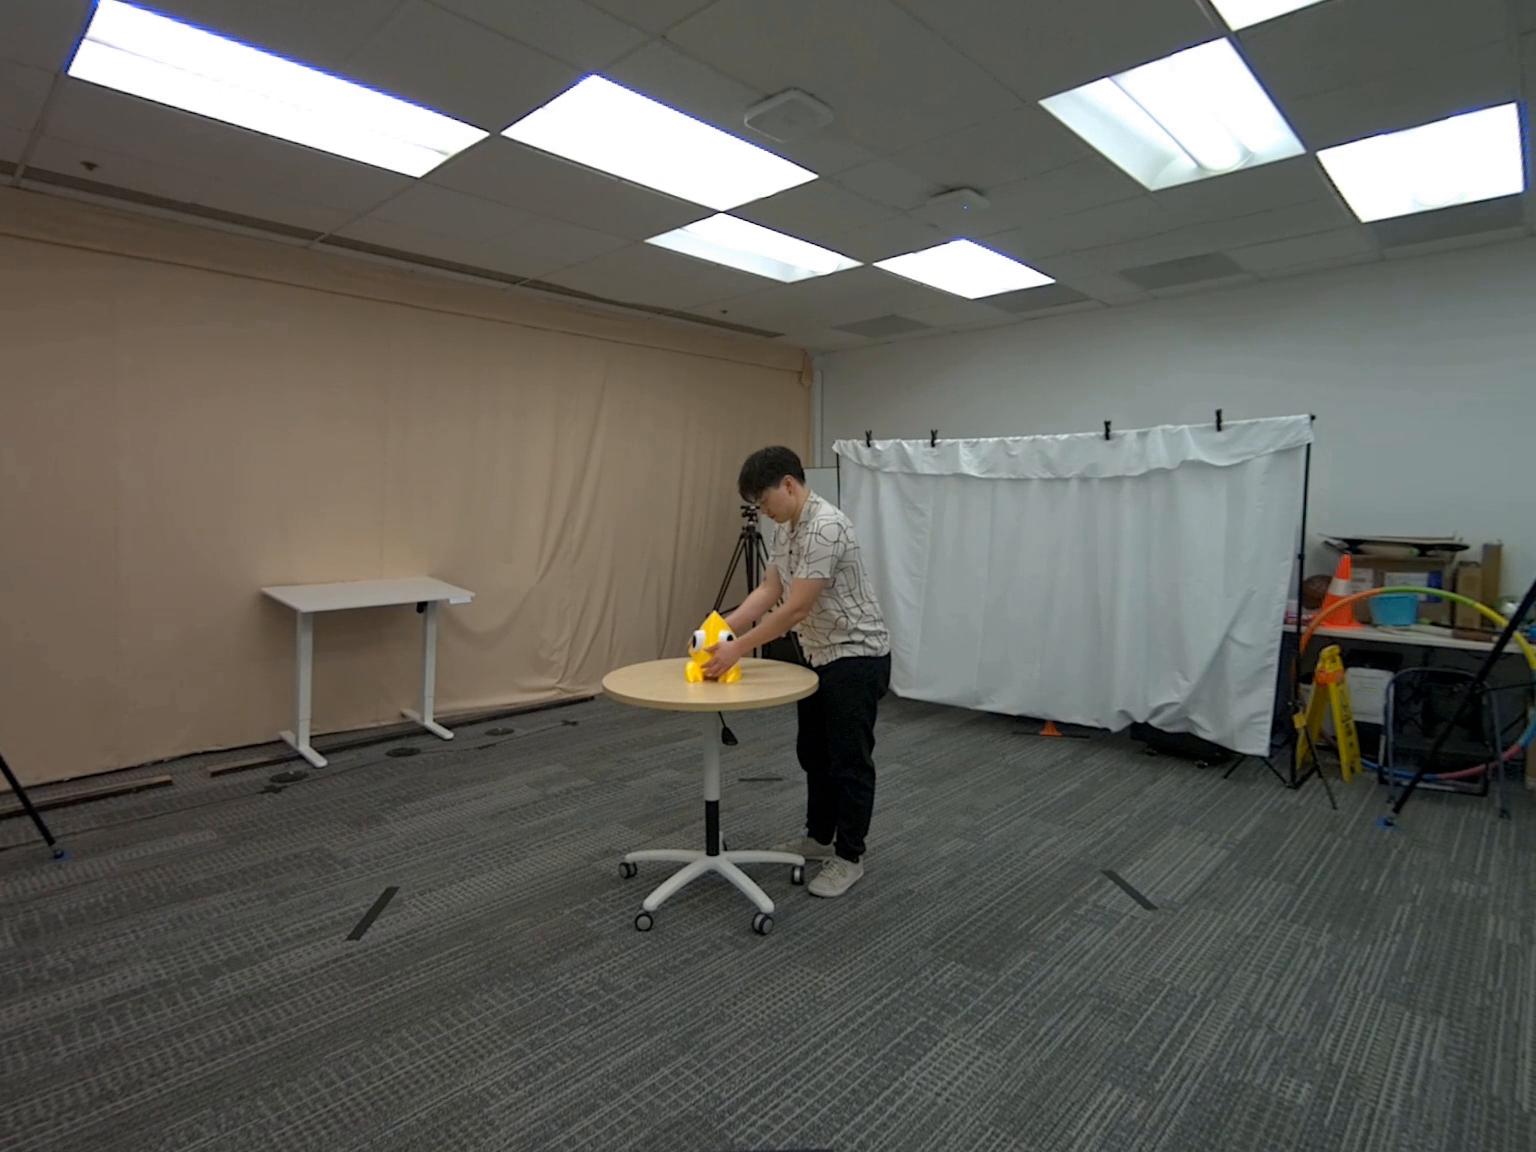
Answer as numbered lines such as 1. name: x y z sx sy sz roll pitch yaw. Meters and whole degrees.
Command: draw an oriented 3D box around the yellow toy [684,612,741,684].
1. yellow toy: -0.194 0.247 2.991 0.206 0.230 0.192 -1 3 6
